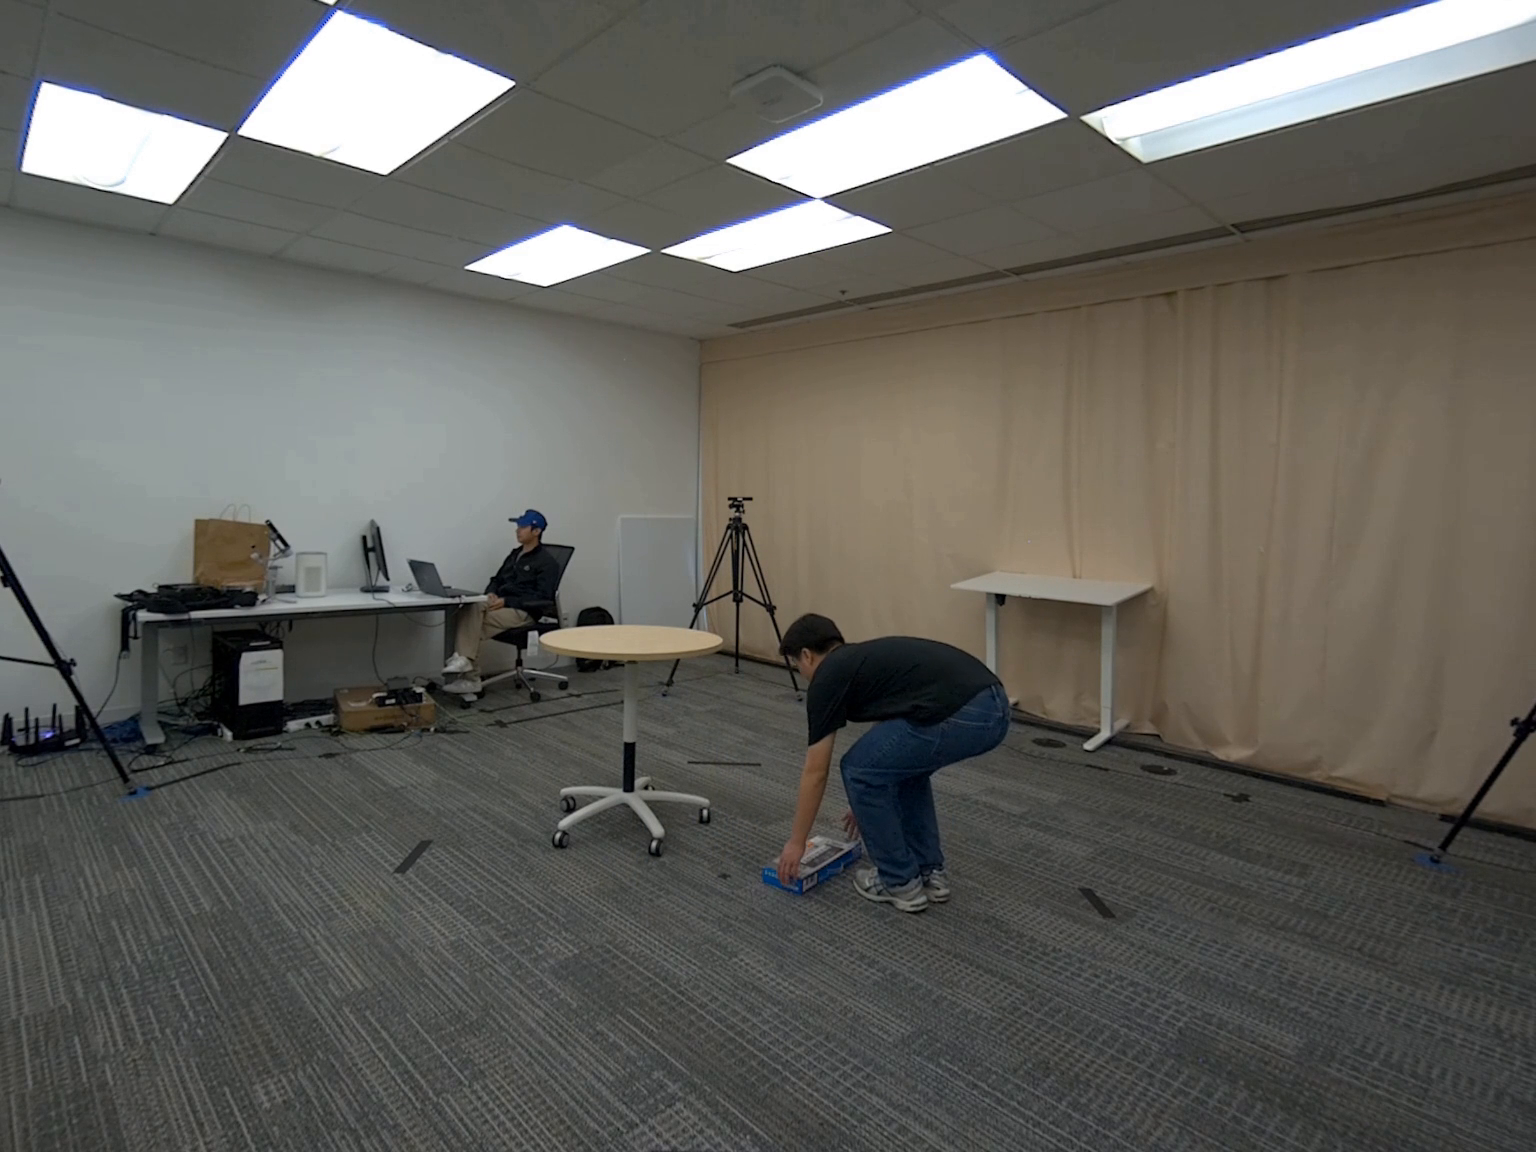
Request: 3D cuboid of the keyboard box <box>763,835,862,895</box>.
[{"bbox_3d":[0.166,1.077,3.185,0.180,0.059,0.427,4,6,37],"label":"keyboard box"}]
